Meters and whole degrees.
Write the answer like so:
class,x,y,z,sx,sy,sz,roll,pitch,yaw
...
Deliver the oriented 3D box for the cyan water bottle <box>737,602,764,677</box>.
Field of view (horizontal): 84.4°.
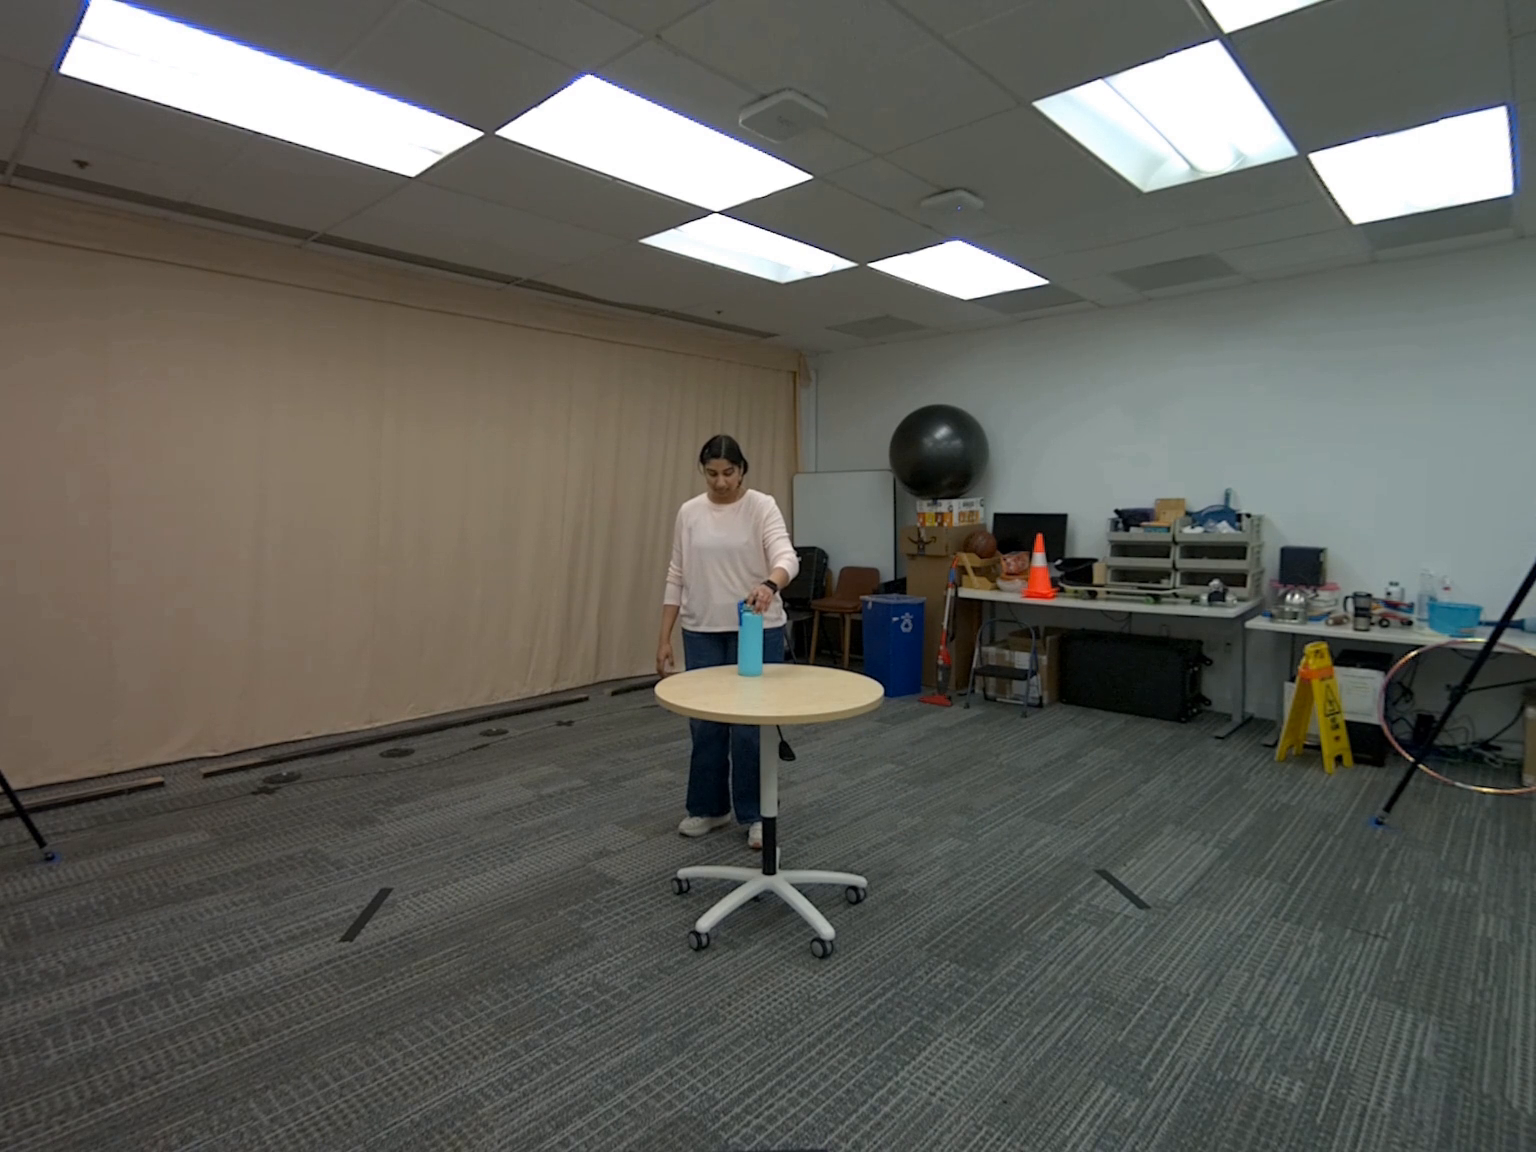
class,x,y,z,sx,sy,sz,roll,pitch,yaw
cyan water bottle,-0.067,0.214,3.040,0.092,0.283,0.092,-2,2,-2
